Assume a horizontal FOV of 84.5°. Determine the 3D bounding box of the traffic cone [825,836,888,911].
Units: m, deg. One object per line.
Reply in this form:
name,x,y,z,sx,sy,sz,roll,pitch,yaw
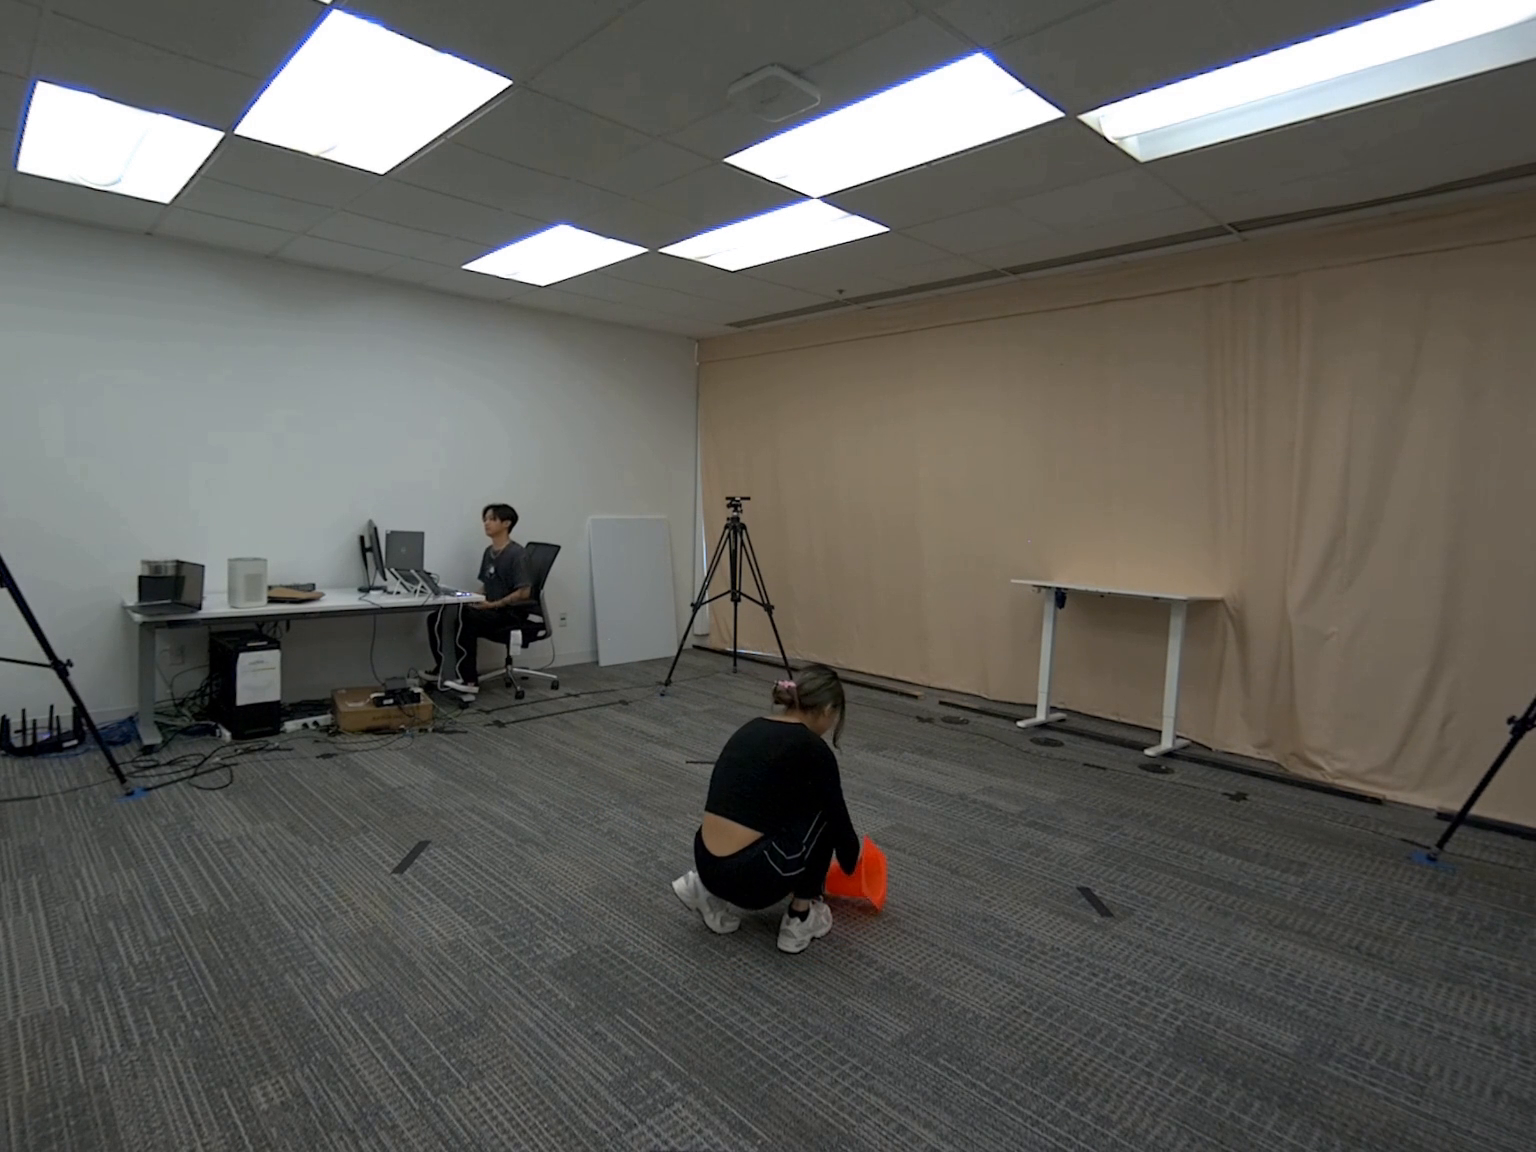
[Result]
traffic cone,0.191,1.052,2.937,0.389,0.208,0.197,-14,-47,27
